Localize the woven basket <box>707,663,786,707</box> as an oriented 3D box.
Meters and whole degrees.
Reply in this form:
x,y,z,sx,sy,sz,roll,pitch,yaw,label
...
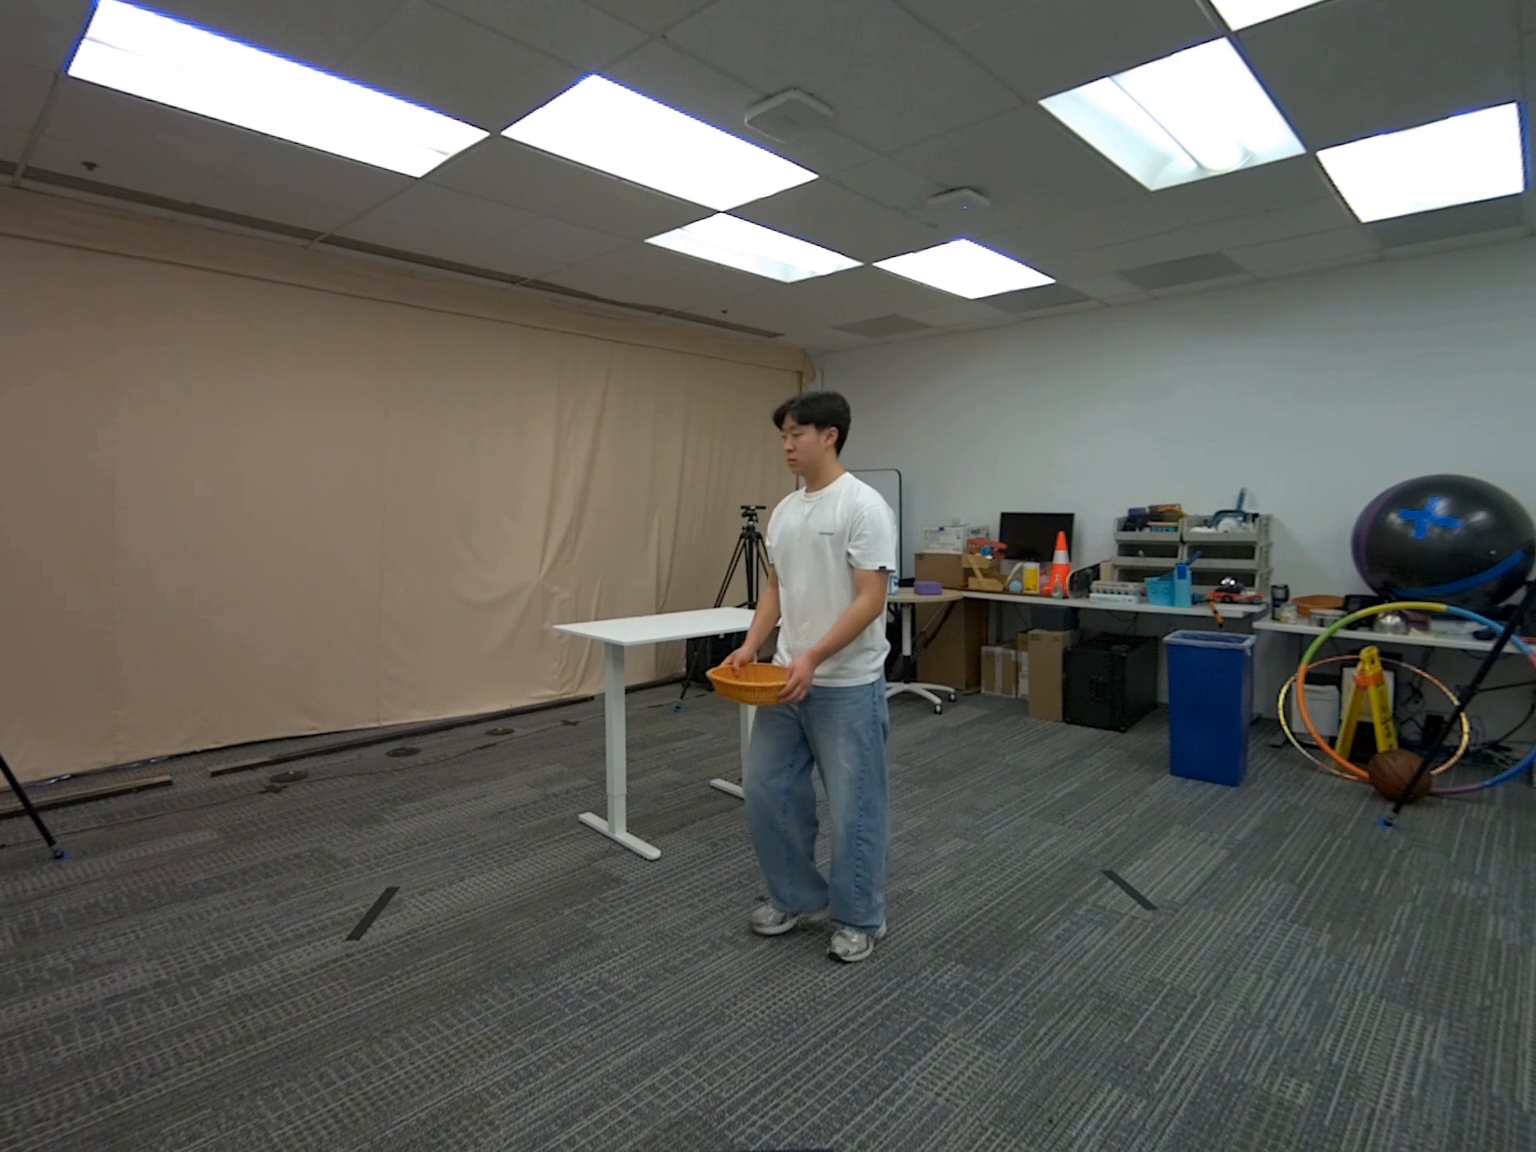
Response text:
x,y,z,sx,sy,sz,roll,pitch,yaw,label
-0.011,0.331,2.541,0.245,0.073,0.362,-7,6,-42,woven basket
